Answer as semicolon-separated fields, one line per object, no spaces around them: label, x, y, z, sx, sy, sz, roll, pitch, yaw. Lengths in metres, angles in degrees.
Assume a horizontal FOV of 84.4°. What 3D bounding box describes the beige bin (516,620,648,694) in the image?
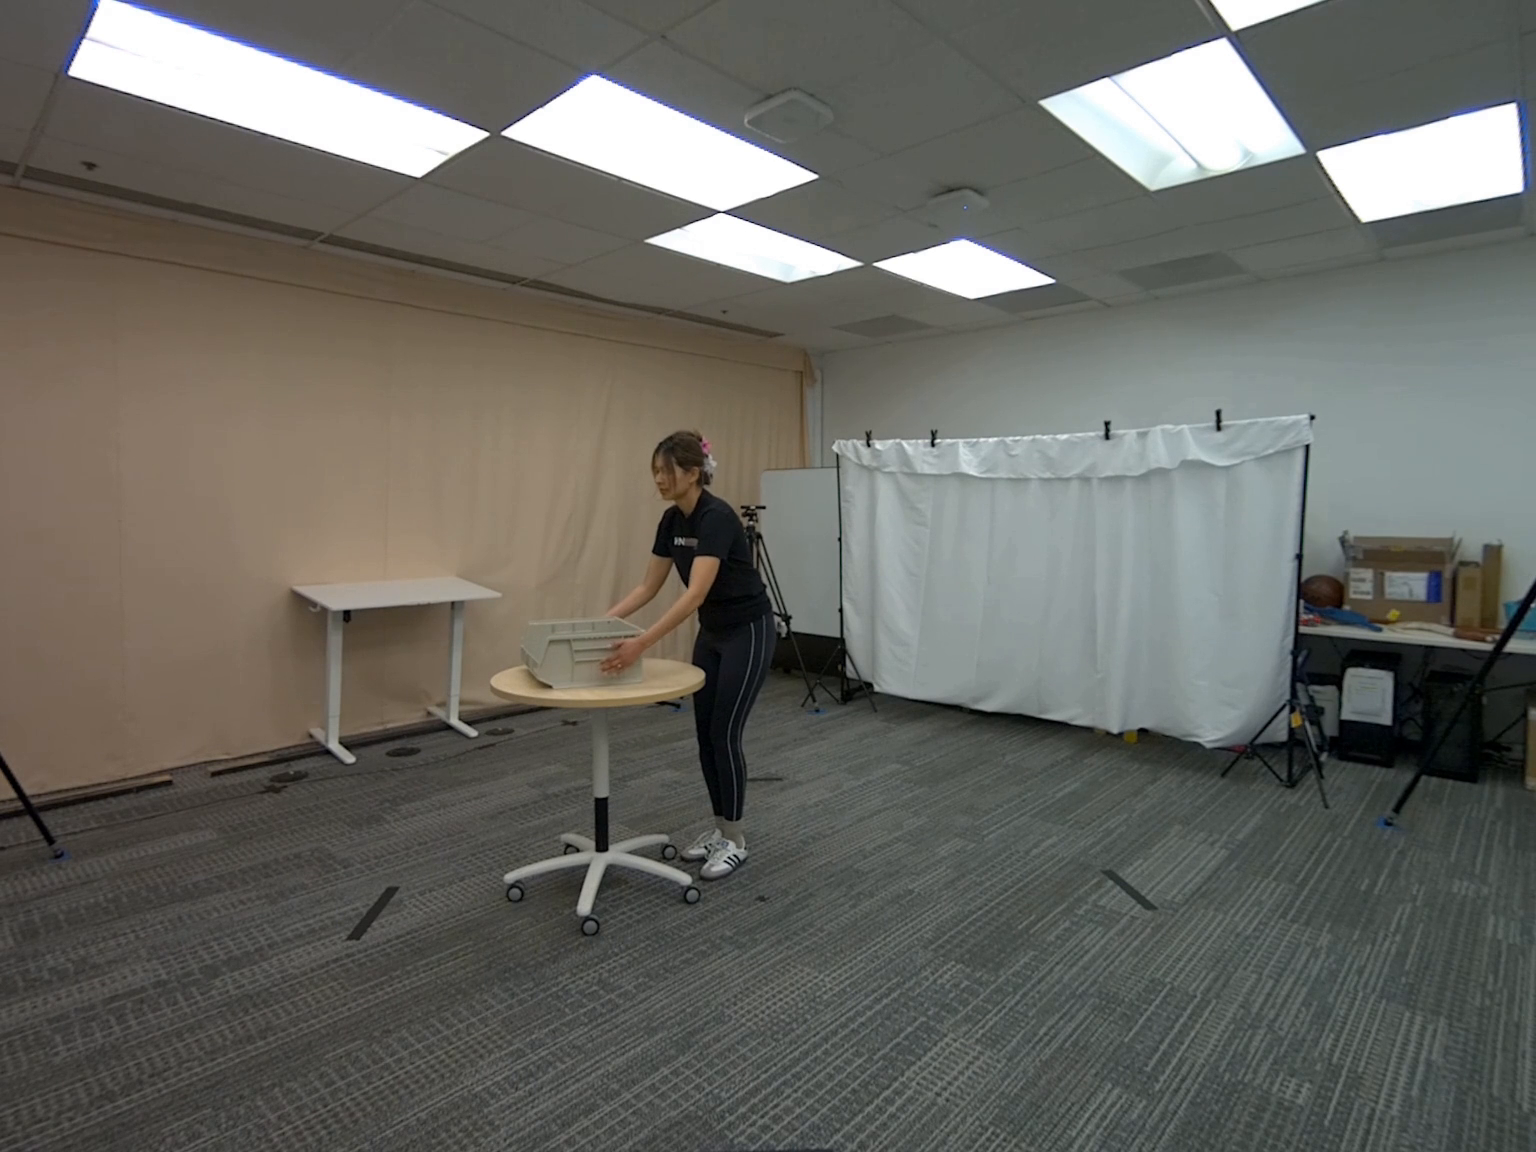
beige bin;-0.677;0.277;3.031;0.369;0.189;0.432;-1;2;-24
